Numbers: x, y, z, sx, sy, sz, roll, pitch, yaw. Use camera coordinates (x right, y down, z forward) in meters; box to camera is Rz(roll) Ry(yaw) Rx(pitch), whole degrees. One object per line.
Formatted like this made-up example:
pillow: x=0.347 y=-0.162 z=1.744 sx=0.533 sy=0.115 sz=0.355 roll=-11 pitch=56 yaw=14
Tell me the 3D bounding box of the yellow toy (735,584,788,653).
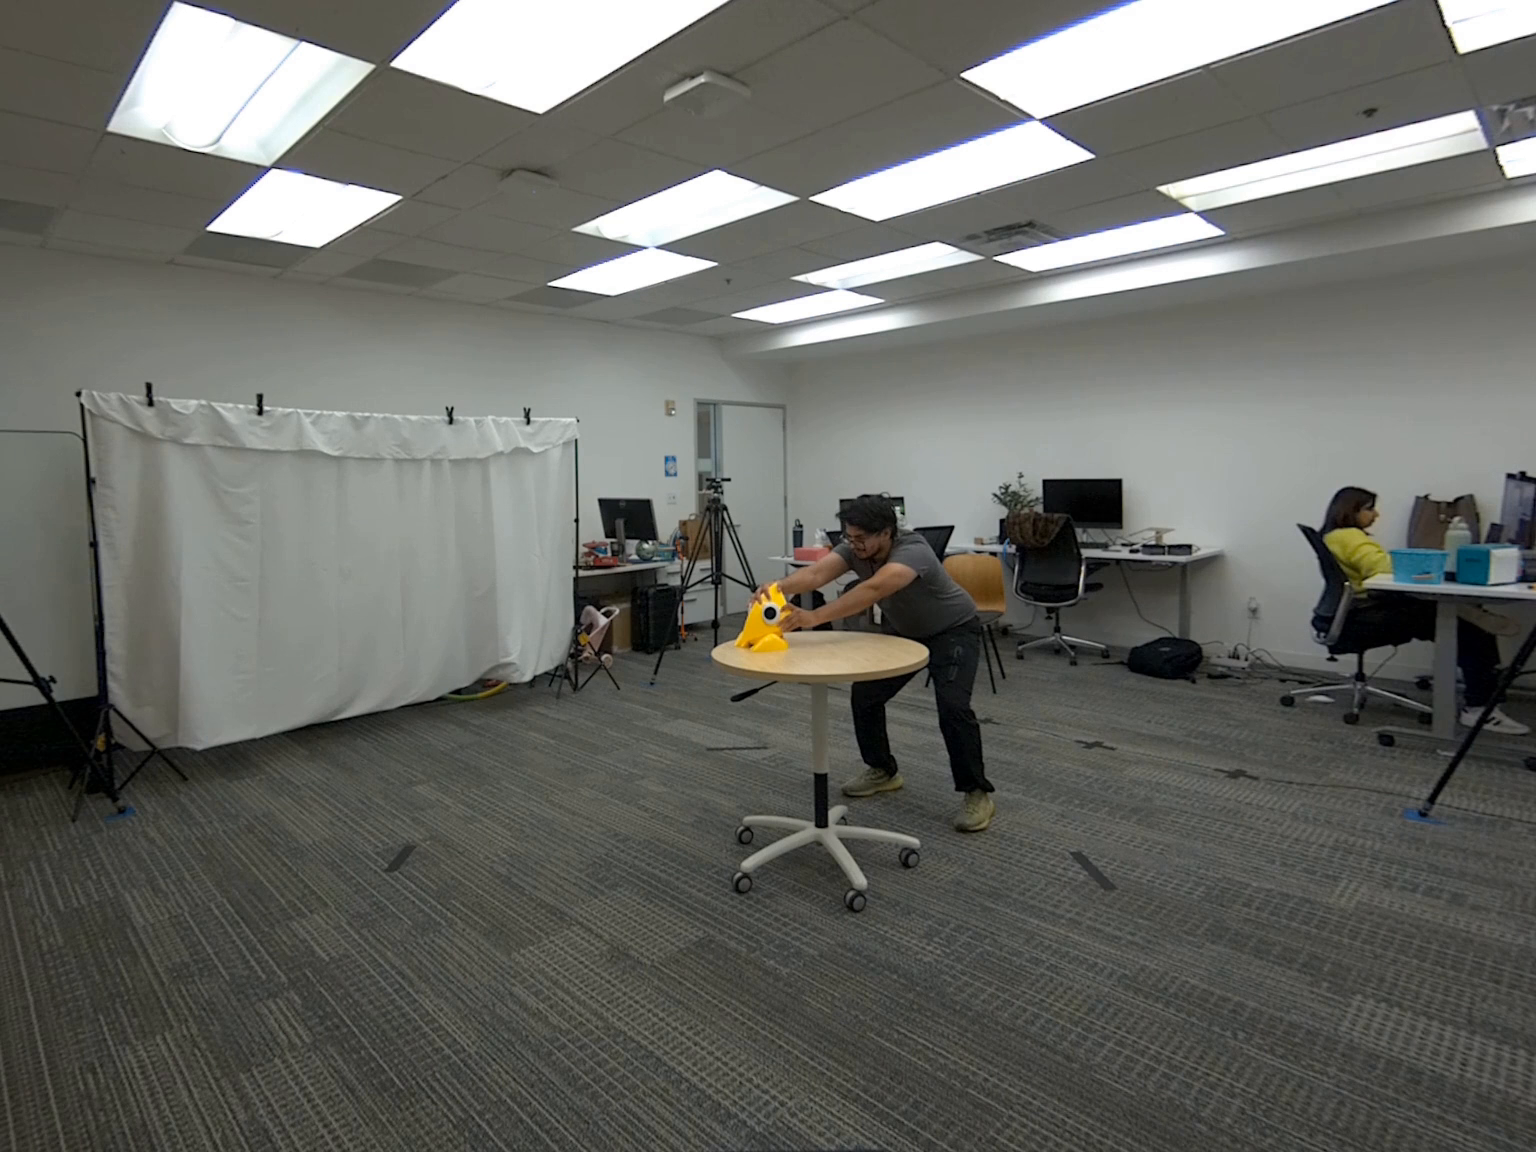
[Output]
yellow toy: x=-0.013 y=0.148 z=3.142 sx=0.188 sy=0.230 sz=0.210 roll=-4 pitch=5 yaw=-30
